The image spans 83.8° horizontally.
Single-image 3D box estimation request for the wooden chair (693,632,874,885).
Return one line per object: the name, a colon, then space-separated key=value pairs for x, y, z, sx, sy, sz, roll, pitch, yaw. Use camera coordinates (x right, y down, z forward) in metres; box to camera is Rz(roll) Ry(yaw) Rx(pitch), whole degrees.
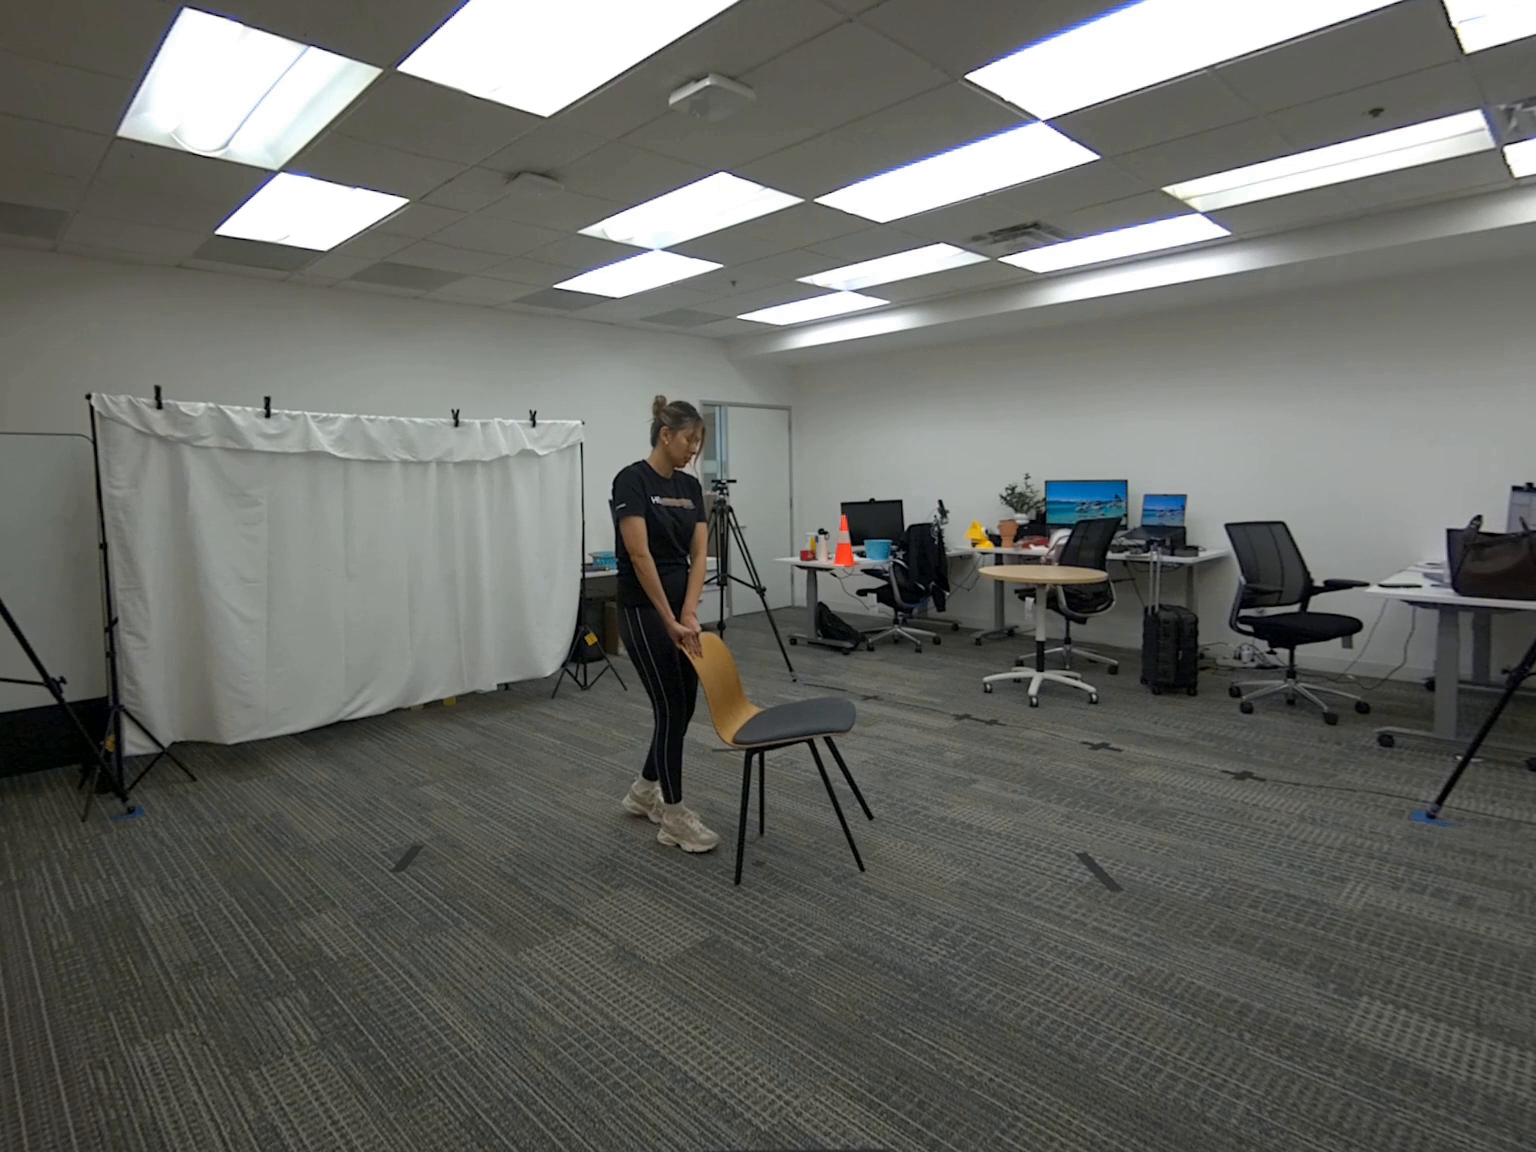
wooden chair: x=0.065 y=0.585 z=3.089 sx=0.528 sy=0.878 sz=0.473 roll=-16 pitch=0 yaw=14
